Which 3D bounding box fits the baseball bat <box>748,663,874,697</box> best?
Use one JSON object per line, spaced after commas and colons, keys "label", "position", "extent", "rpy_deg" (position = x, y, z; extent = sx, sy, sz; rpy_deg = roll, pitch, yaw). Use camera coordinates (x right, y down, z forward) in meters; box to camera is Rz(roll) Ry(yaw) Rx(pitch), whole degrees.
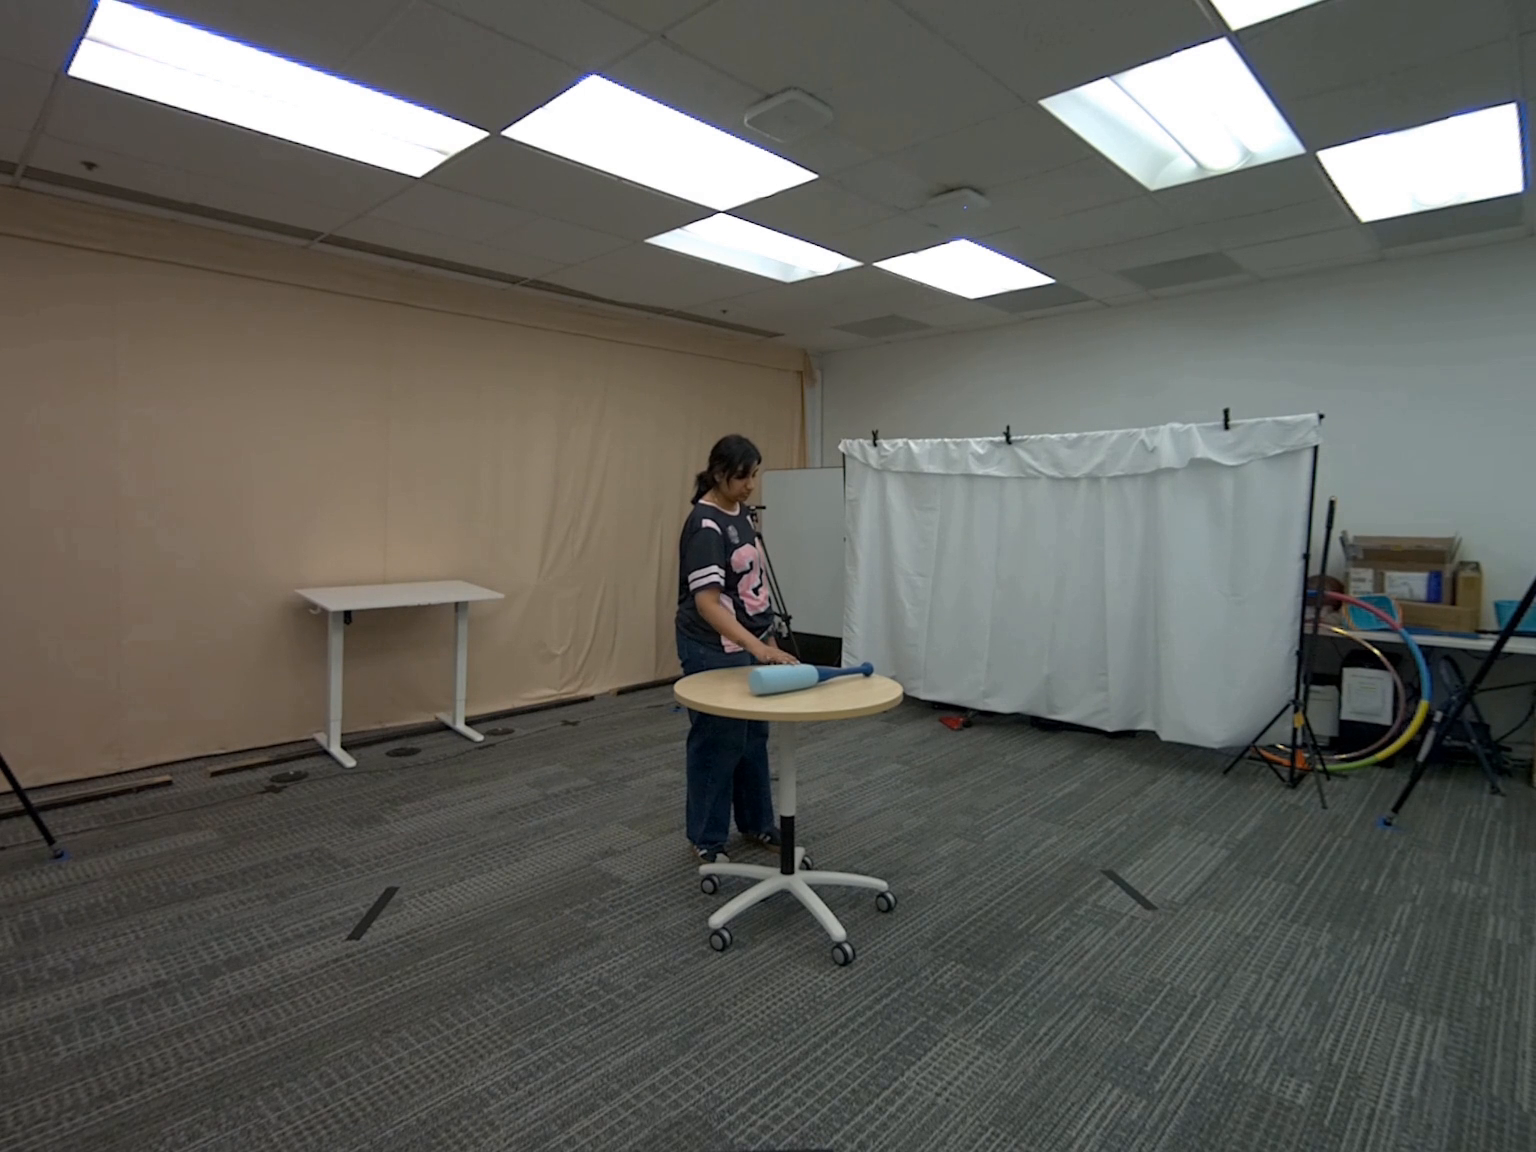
{"label": "baseball bat", "position": [0.163, 0.335, 2.831], "extent": [0.526, 0.089, 0.092], "rpy_deg": [-1, 3, -37]}
